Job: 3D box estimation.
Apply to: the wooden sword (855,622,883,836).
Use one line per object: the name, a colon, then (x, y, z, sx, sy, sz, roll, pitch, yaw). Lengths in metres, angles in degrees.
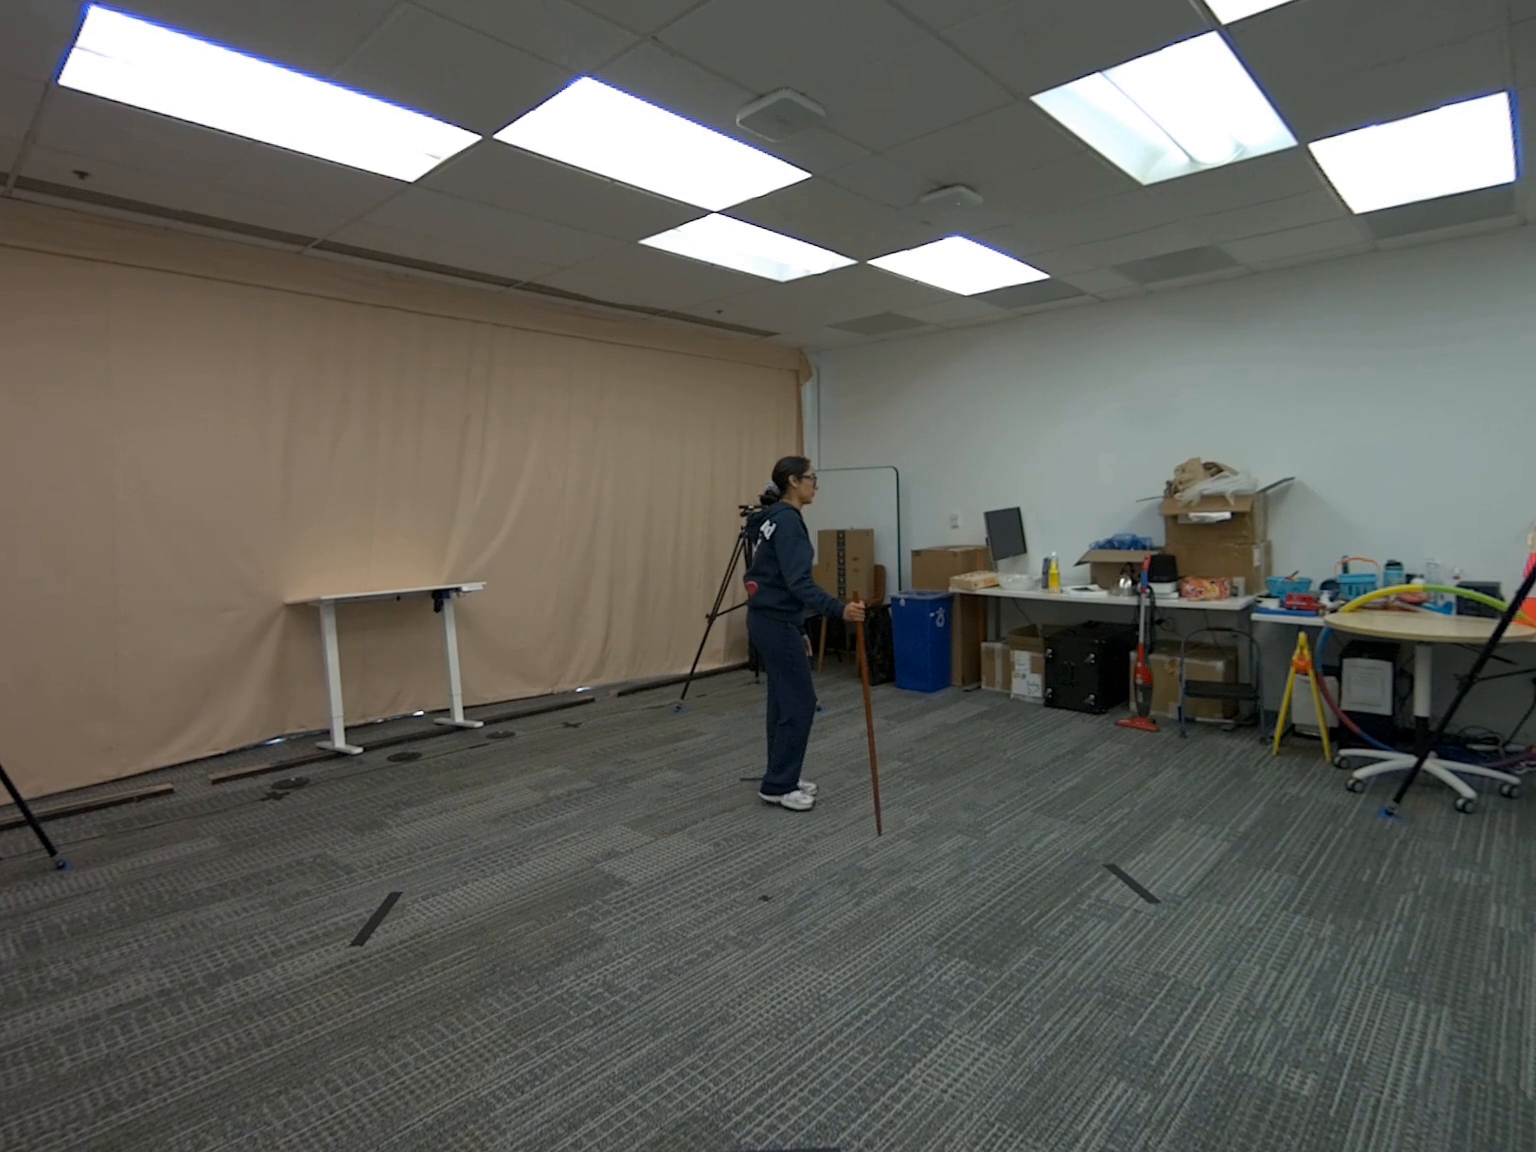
wooden sword: (0.425, 0.569, 3.537, 0.024, 1.024, 0.052, -6, 0, -8)
